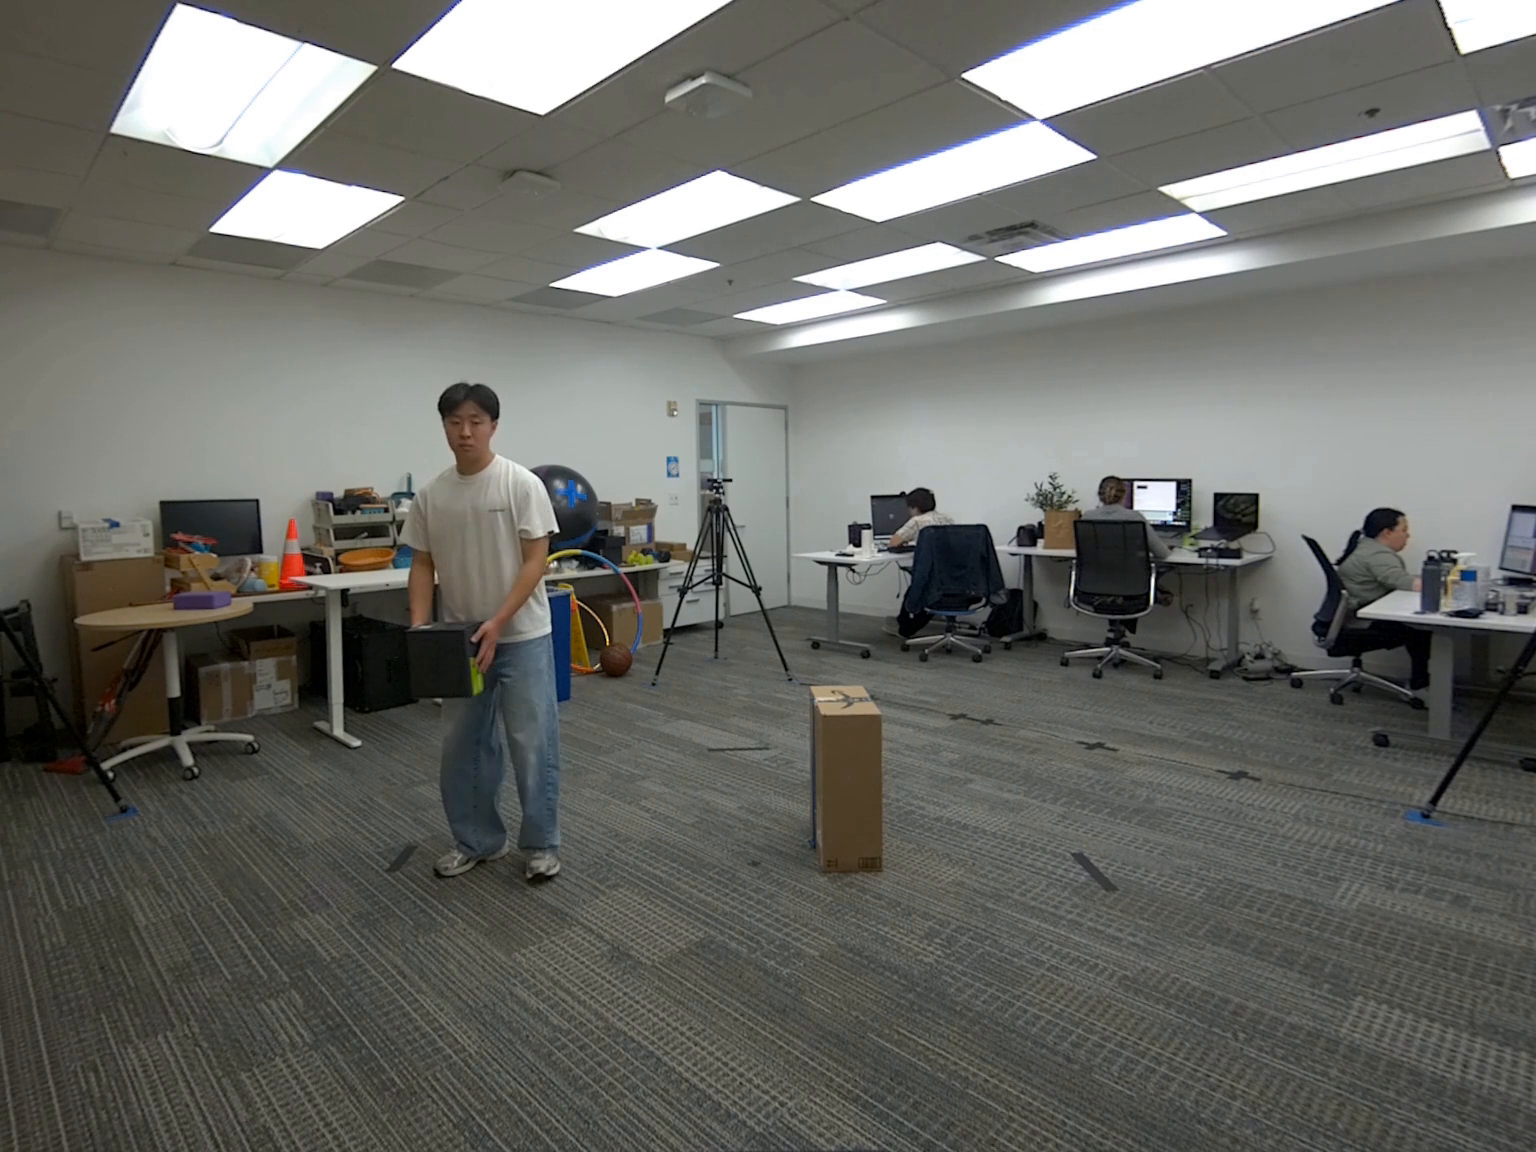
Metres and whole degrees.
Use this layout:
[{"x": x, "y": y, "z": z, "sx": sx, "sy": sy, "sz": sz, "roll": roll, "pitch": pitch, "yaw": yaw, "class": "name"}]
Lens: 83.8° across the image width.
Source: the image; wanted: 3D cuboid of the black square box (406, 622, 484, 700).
[{"x": -1.069, "y": 0.278, "z": 2.863, "sx": 0.219, "sy": 0.226, "sz": 0.155, "roll": -2, "pitch": 7, "yaw": 10, "class": "black square box"}]
